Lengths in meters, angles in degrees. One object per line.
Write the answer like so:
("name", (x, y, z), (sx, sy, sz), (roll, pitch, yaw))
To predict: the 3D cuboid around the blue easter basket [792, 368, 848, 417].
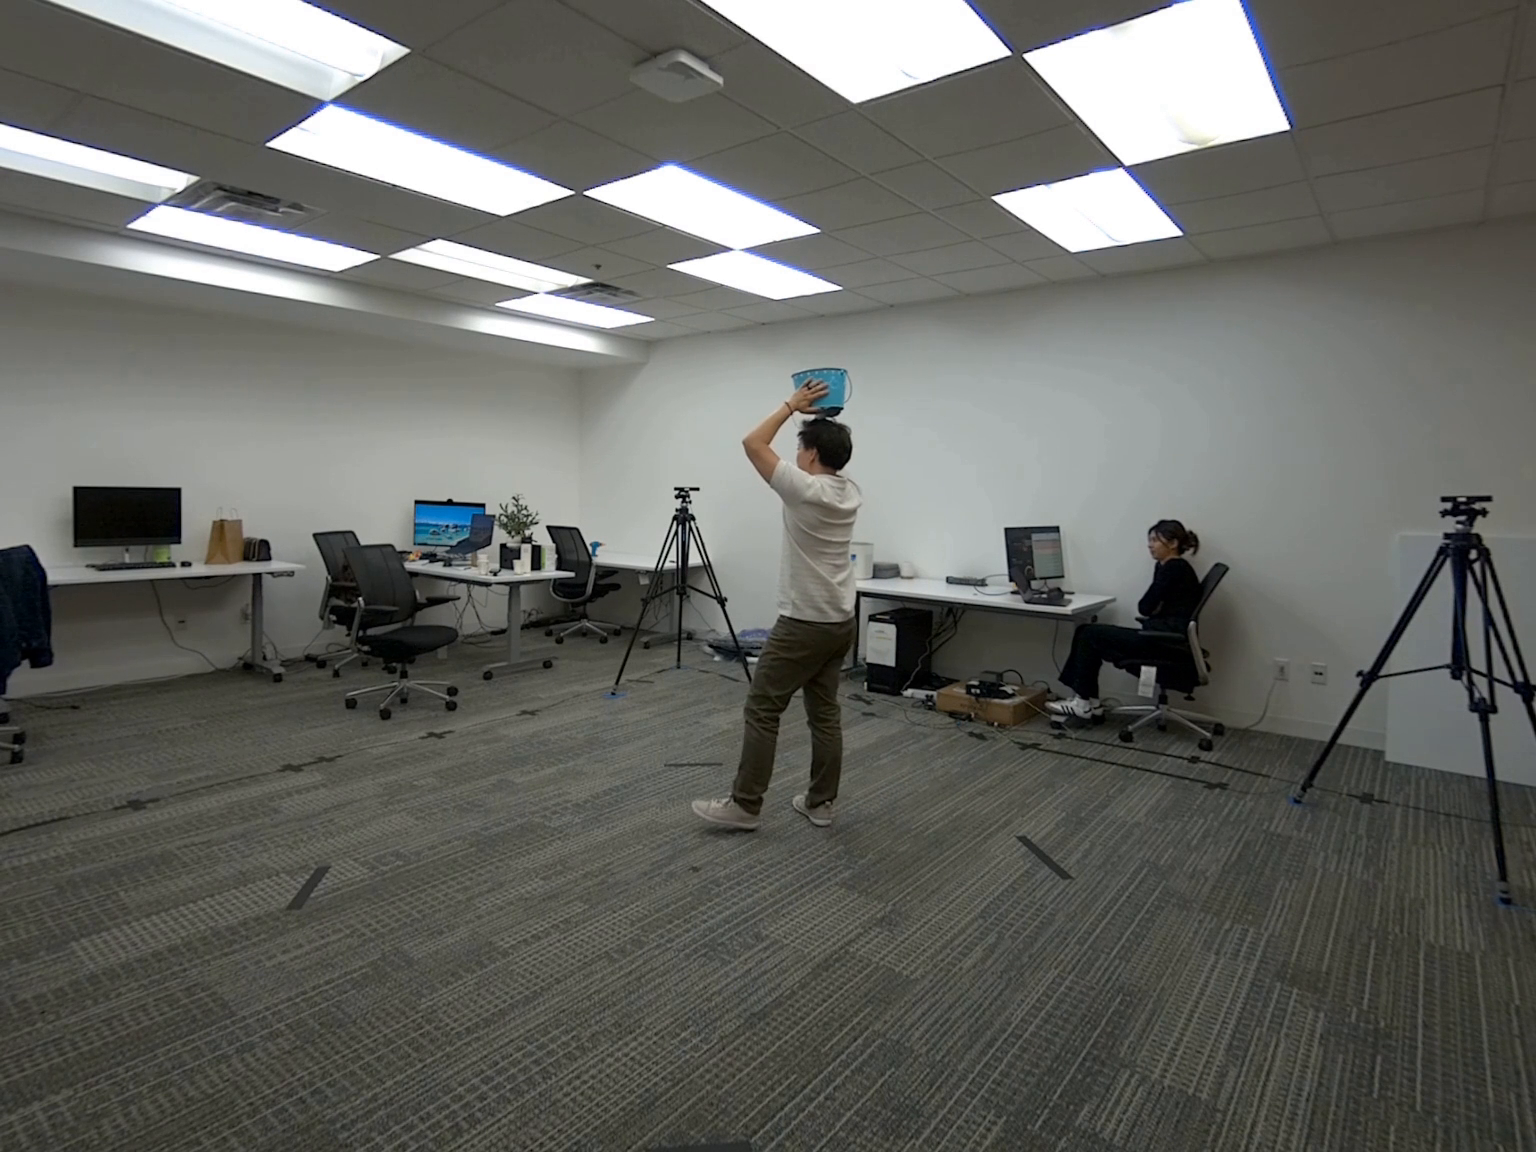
("blue easter basket", (0.219, -0.759, 3.513), (0.243, 0.156, 0.244), (-2, 2, -2))
